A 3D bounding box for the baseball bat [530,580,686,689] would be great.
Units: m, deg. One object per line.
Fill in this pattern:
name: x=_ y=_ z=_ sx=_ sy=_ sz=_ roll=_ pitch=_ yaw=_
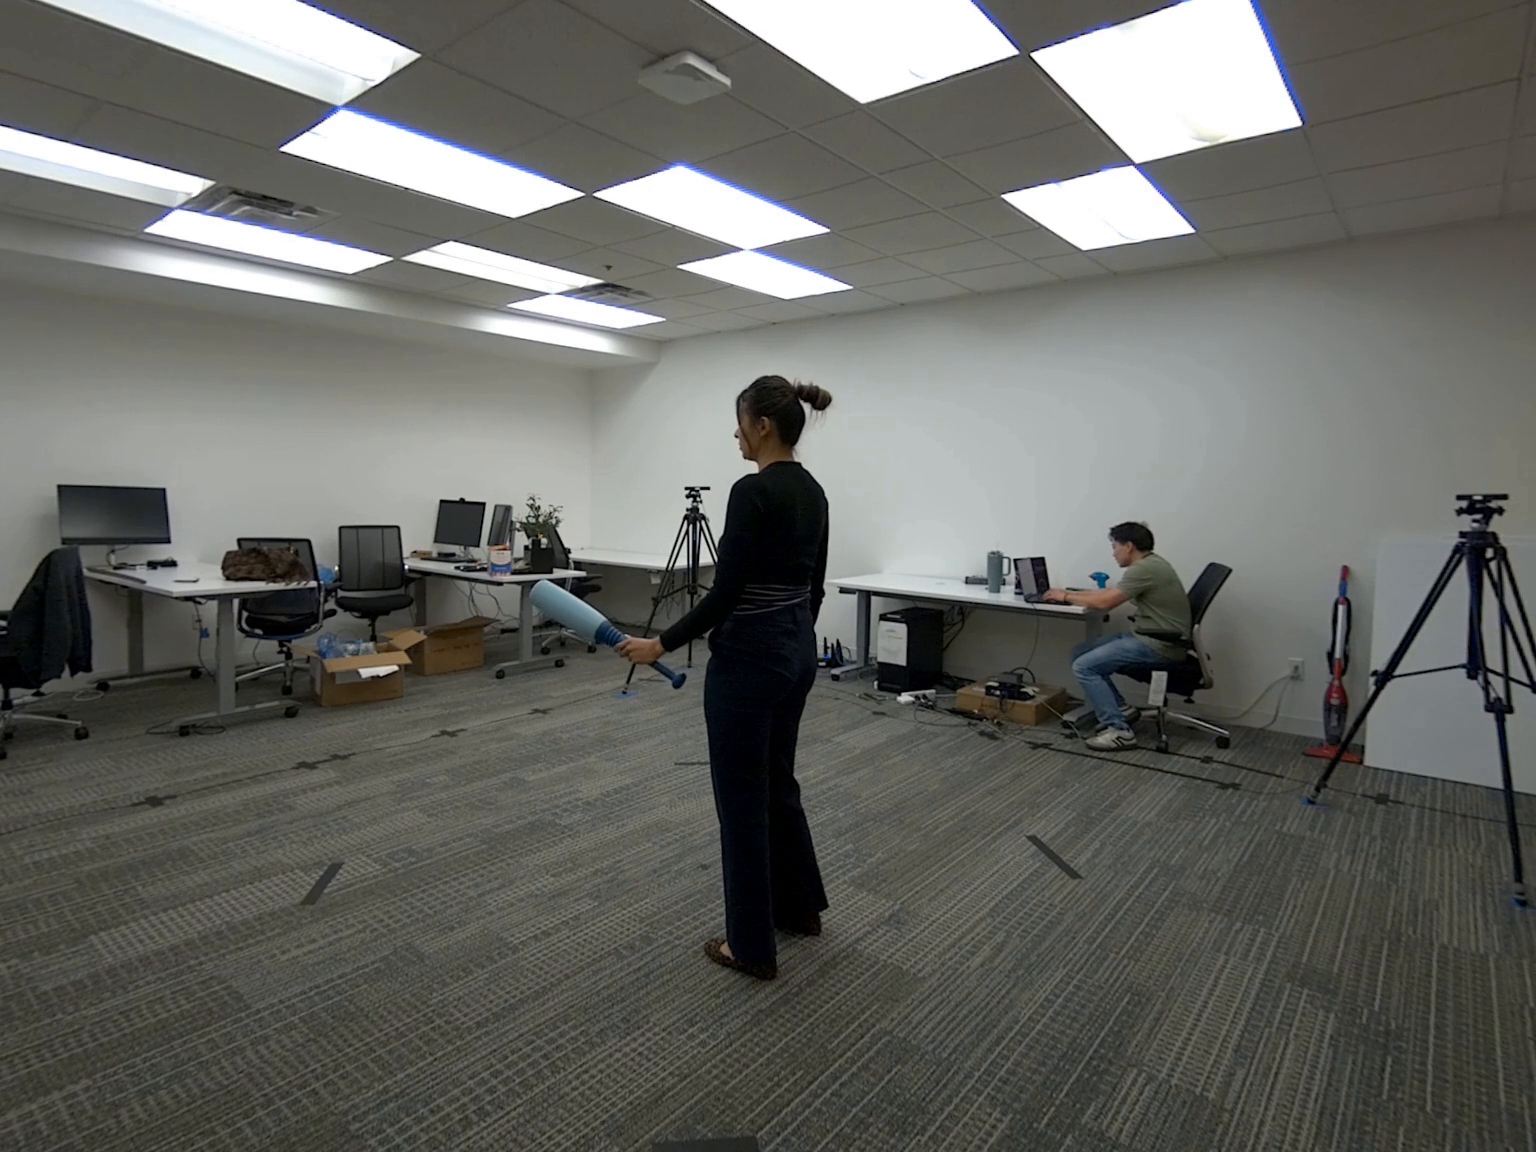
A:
baseball bat: x=-0.471 y=0.168 z=2.468 sx=0.555 sy=0.088 sz=0.087 roll=30 pitch=12 yaw=16
